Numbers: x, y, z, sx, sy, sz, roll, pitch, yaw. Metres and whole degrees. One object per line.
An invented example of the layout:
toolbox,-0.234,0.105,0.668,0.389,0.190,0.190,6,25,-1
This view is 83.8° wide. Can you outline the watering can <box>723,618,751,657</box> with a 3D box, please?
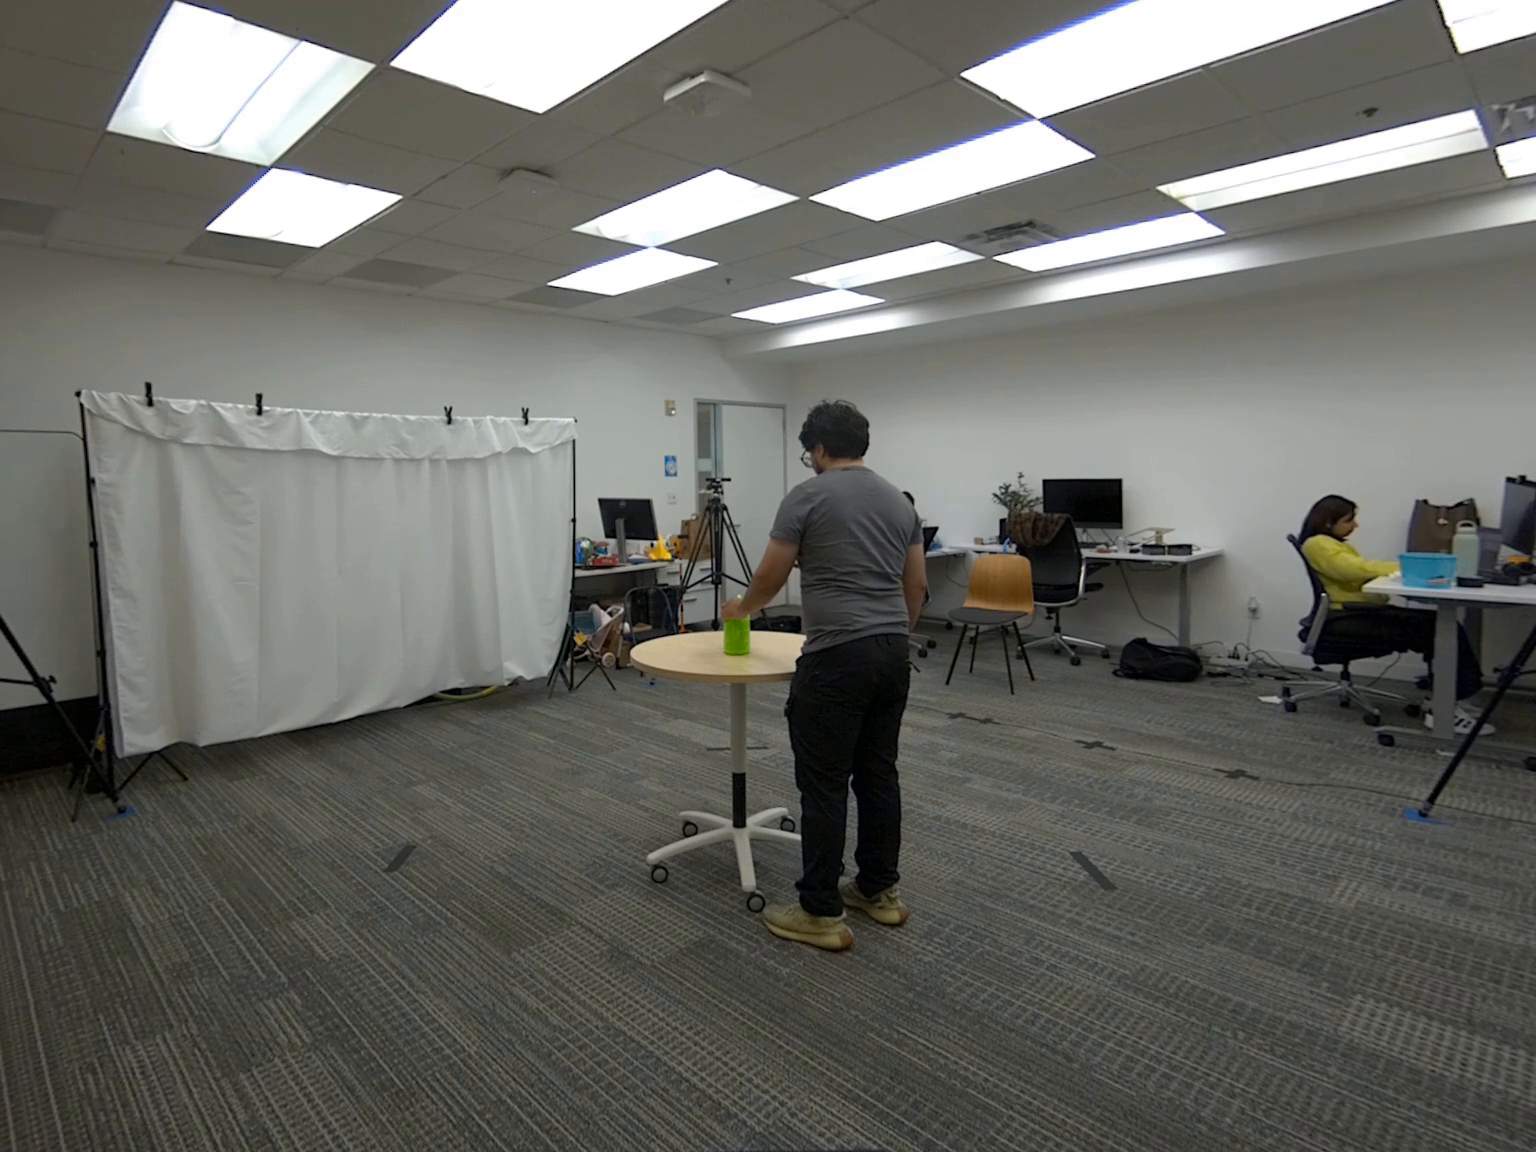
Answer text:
watering can,-0.094,0.180,3.066,0.100,0.176,0.274,2,7,18
